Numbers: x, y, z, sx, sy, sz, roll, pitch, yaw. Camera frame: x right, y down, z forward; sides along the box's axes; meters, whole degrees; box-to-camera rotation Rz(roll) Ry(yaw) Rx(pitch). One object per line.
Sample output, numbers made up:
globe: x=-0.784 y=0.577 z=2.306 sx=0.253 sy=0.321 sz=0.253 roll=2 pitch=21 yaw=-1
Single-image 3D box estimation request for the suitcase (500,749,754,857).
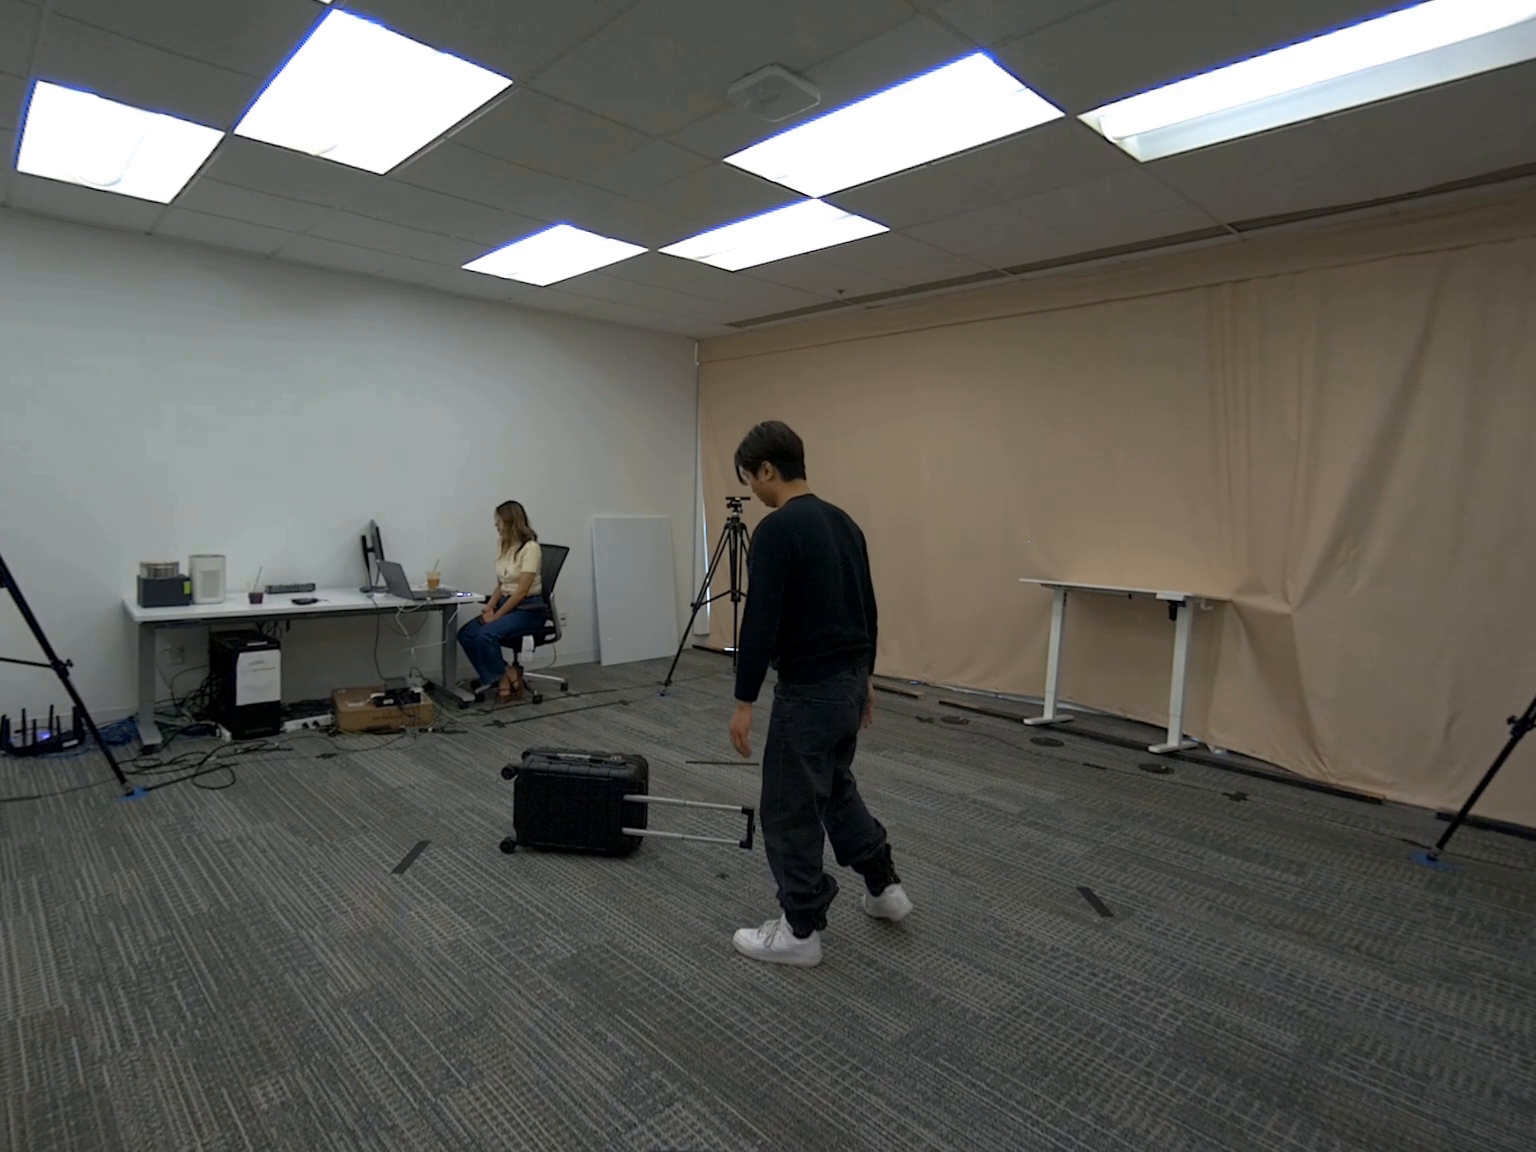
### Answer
suitcase: x=-0.541 y=0.891 z=3.303 sx=0.984 sy=0.383 sz=0.256 roll=2 pitch=5 yaw=6
